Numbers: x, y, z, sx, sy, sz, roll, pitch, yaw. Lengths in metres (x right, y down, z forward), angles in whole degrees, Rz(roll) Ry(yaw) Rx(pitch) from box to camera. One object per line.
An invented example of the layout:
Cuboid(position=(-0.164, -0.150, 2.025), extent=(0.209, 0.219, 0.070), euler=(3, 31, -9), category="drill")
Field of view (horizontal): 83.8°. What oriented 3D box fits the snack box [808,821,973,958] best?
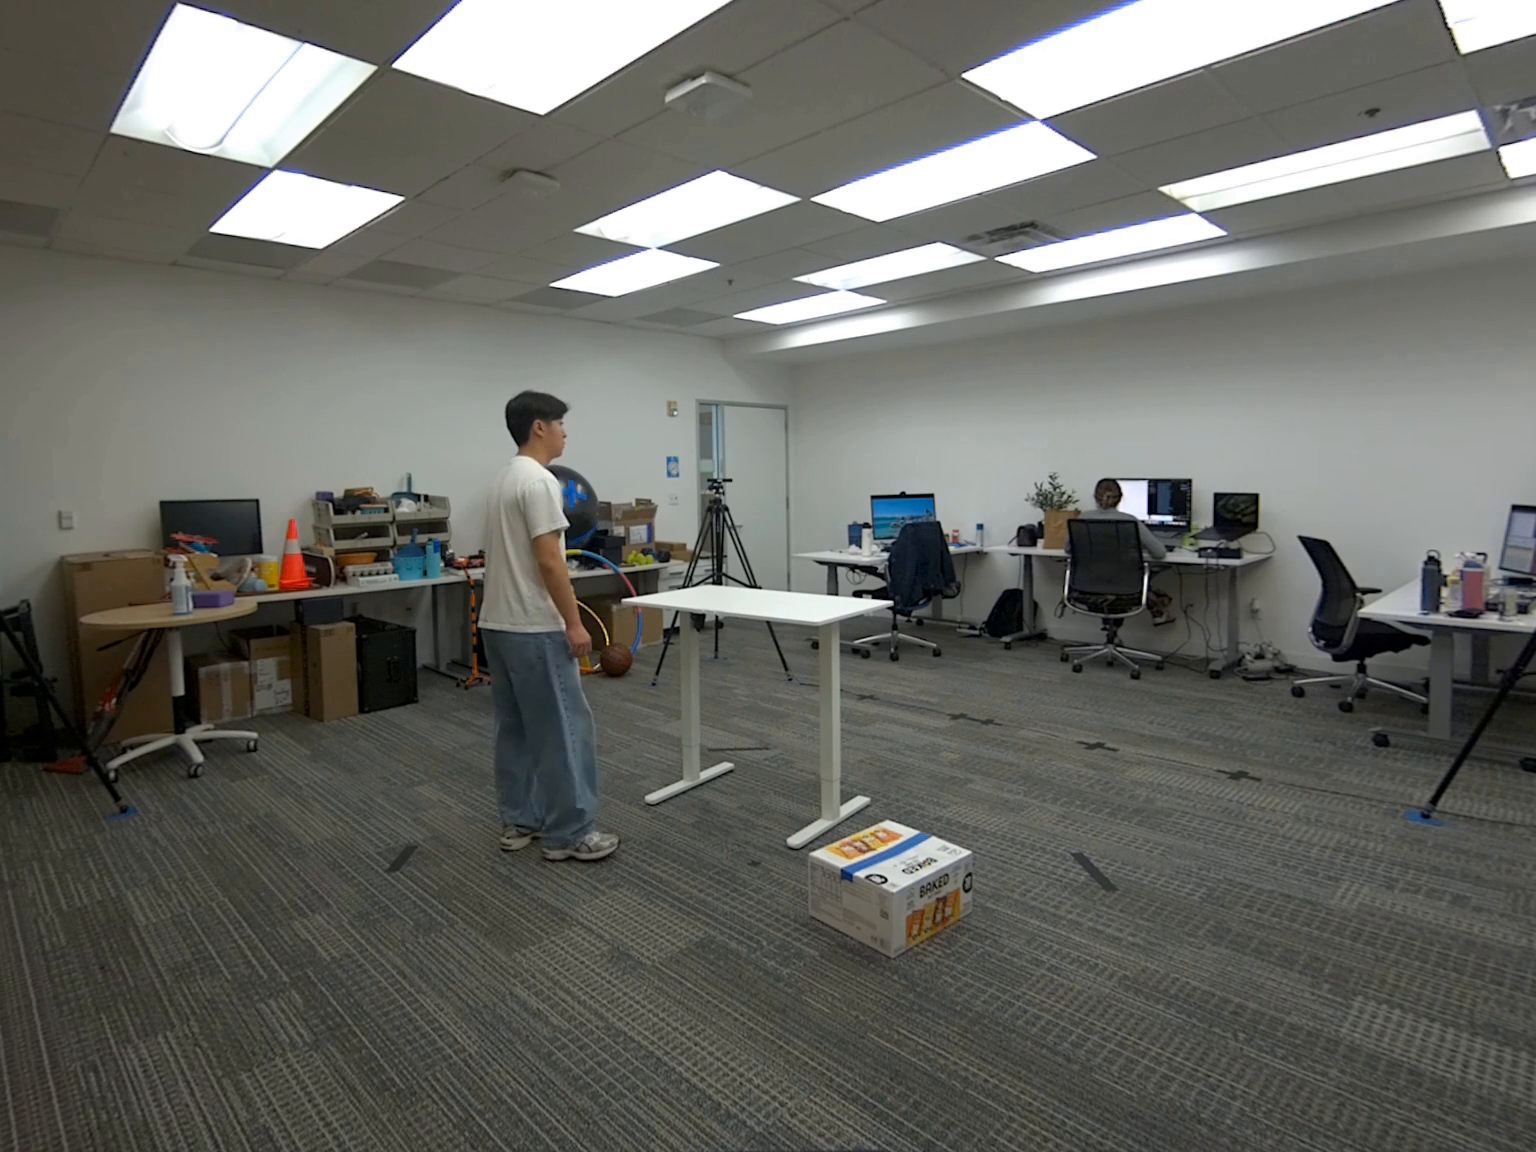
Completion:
Cuboid(position=(0.394, 0.980, 2.718), extent=(0.394, 0.205, 0.351), euler=(-6, 8, -41), category="snack box")
